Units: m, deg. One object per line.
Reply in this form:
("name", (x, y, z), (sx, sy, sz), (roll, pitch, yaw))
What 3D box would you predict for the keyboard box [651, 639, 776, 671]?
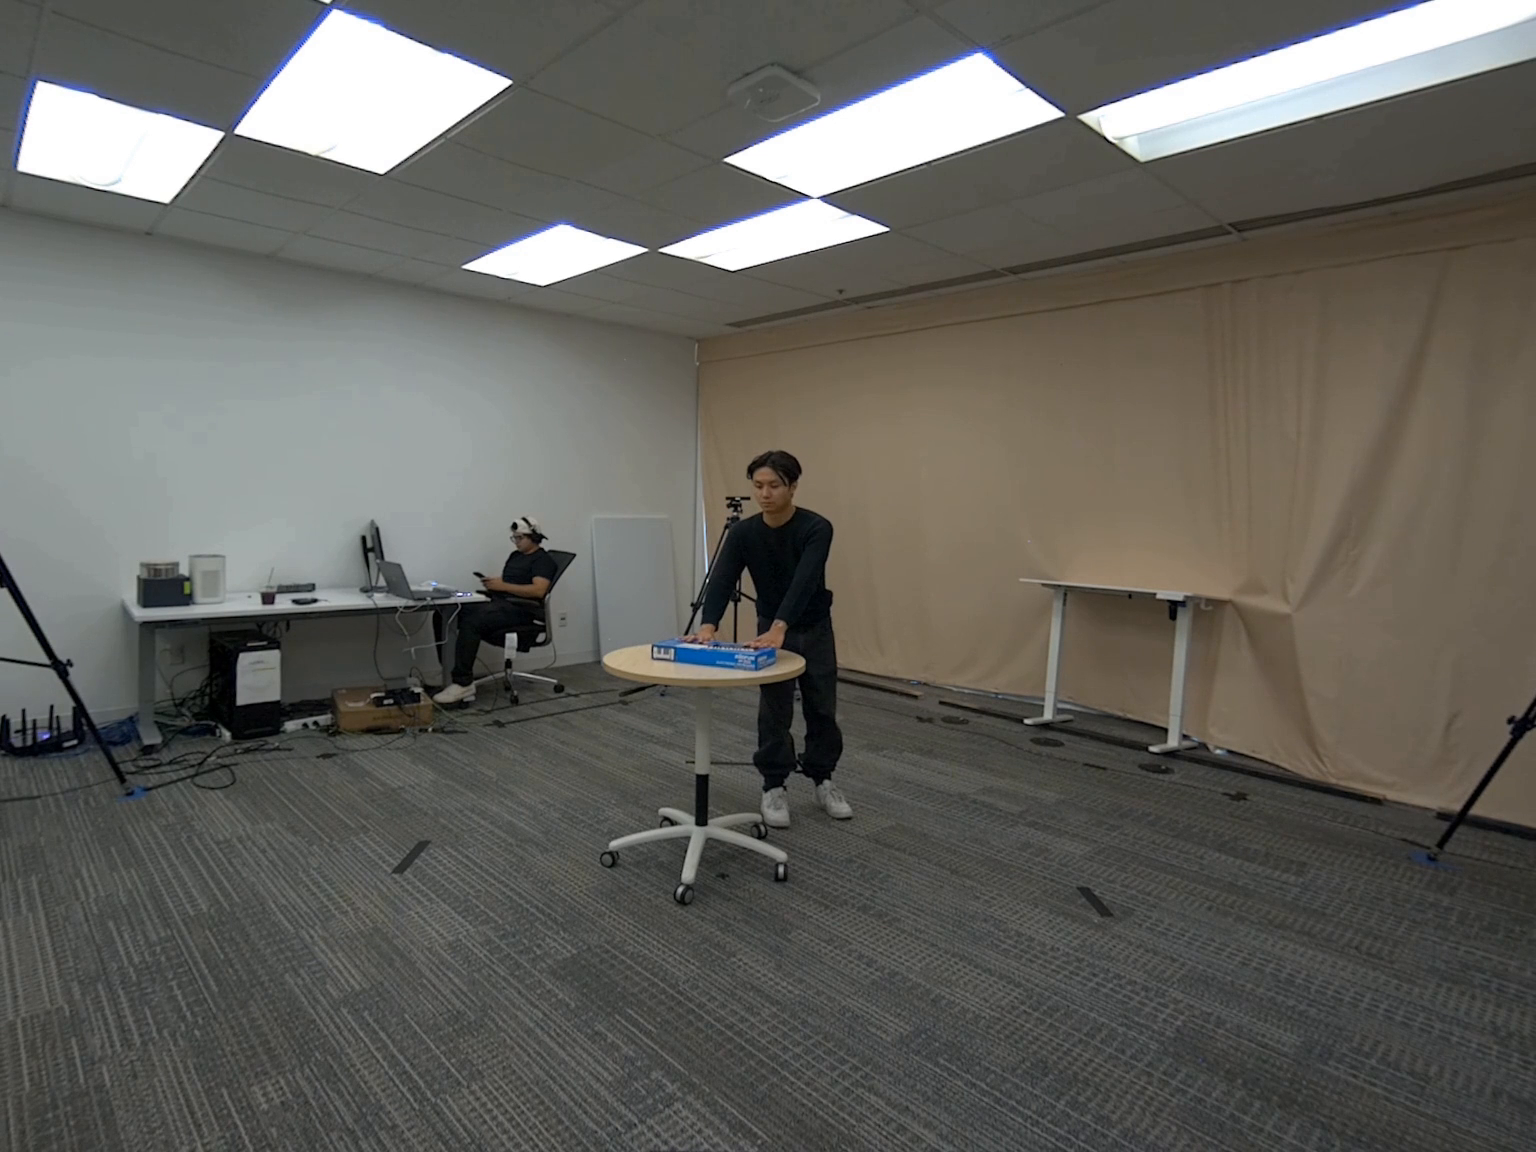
("keyboard box", (-0.208, 0.289, 3.139), (0.445, 0.059, 0.173), (3, 5, 26))
